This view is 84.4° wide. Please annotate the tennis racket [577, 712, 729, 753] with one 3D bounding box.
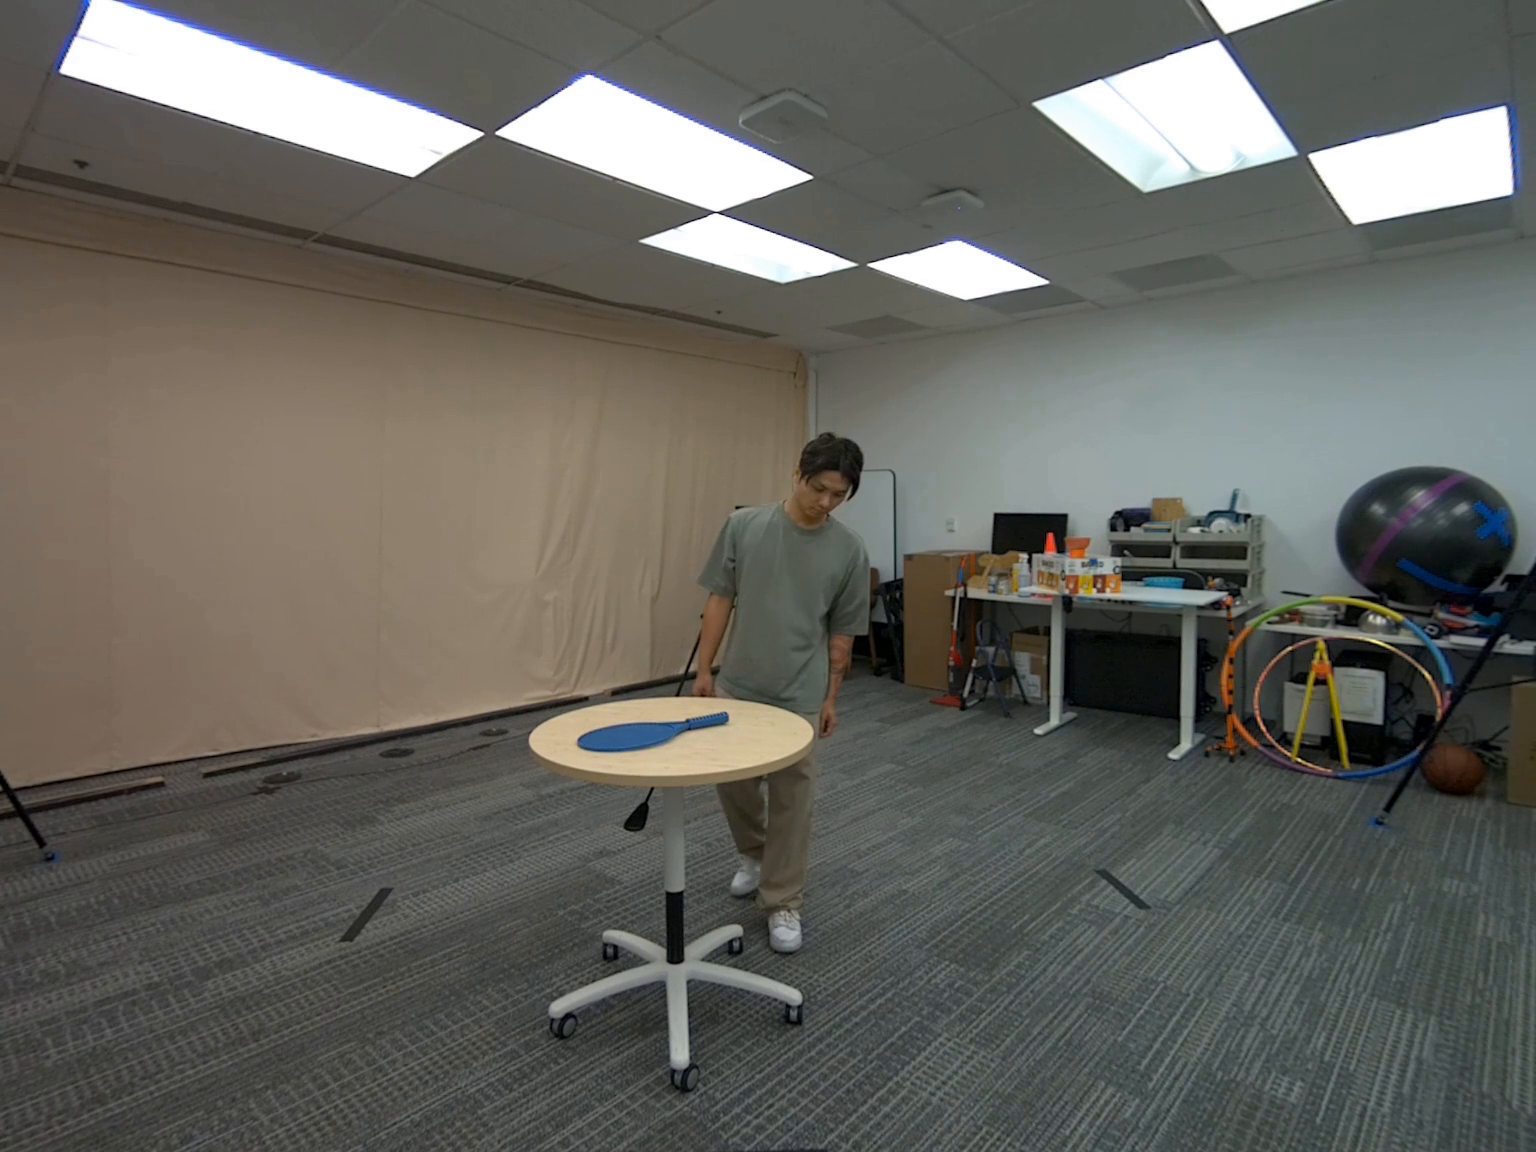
[{"bbox_3d":[-0.292,0.408,2.252,0.422,0.031,0.220,-5,8,-28],"label":"tennis racket"}]
